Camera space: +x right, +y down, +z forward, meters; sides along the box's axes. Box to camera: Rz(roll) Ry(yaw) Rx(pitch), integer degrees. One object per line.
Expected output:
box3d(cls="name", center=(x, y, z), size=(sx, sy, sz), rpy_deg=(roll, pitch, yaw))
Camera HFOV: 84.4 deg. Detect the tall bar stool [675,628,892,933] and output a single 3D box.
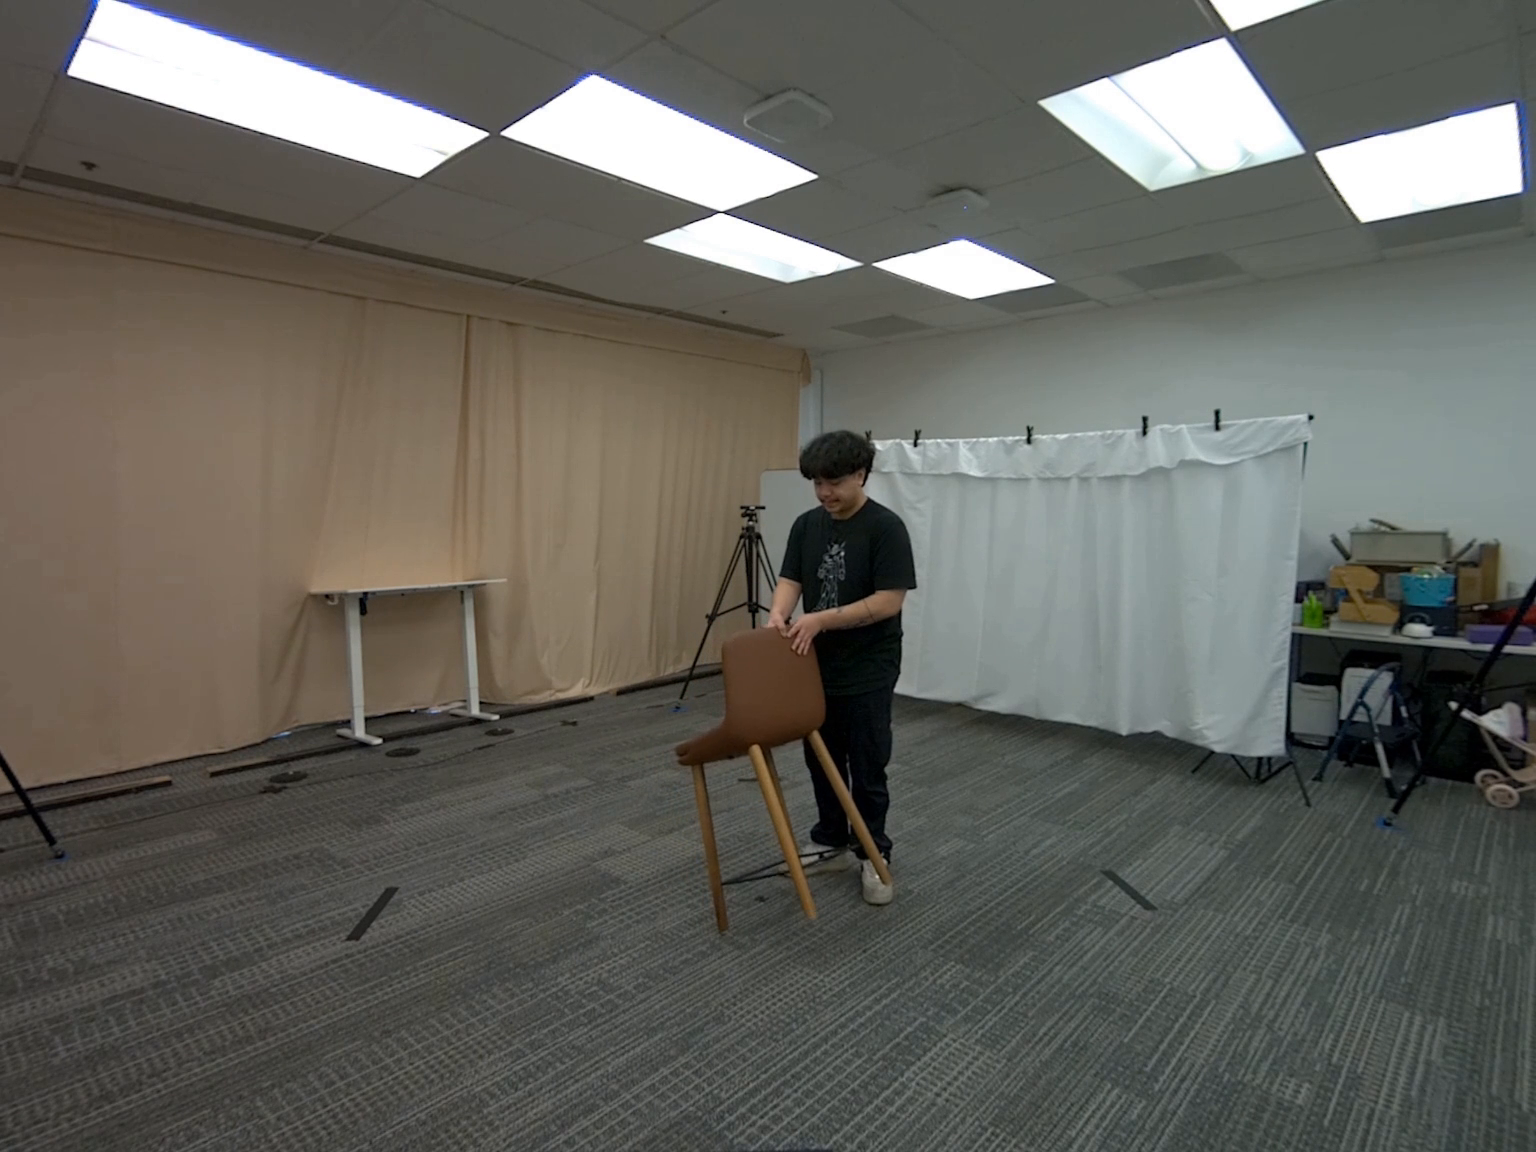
box3d(cls="tall bar stool", center=(0.002, 0.667, 2.829), size=(0.442, 0.902, 0.476), rpy_deg=(-3, -20, -41))
